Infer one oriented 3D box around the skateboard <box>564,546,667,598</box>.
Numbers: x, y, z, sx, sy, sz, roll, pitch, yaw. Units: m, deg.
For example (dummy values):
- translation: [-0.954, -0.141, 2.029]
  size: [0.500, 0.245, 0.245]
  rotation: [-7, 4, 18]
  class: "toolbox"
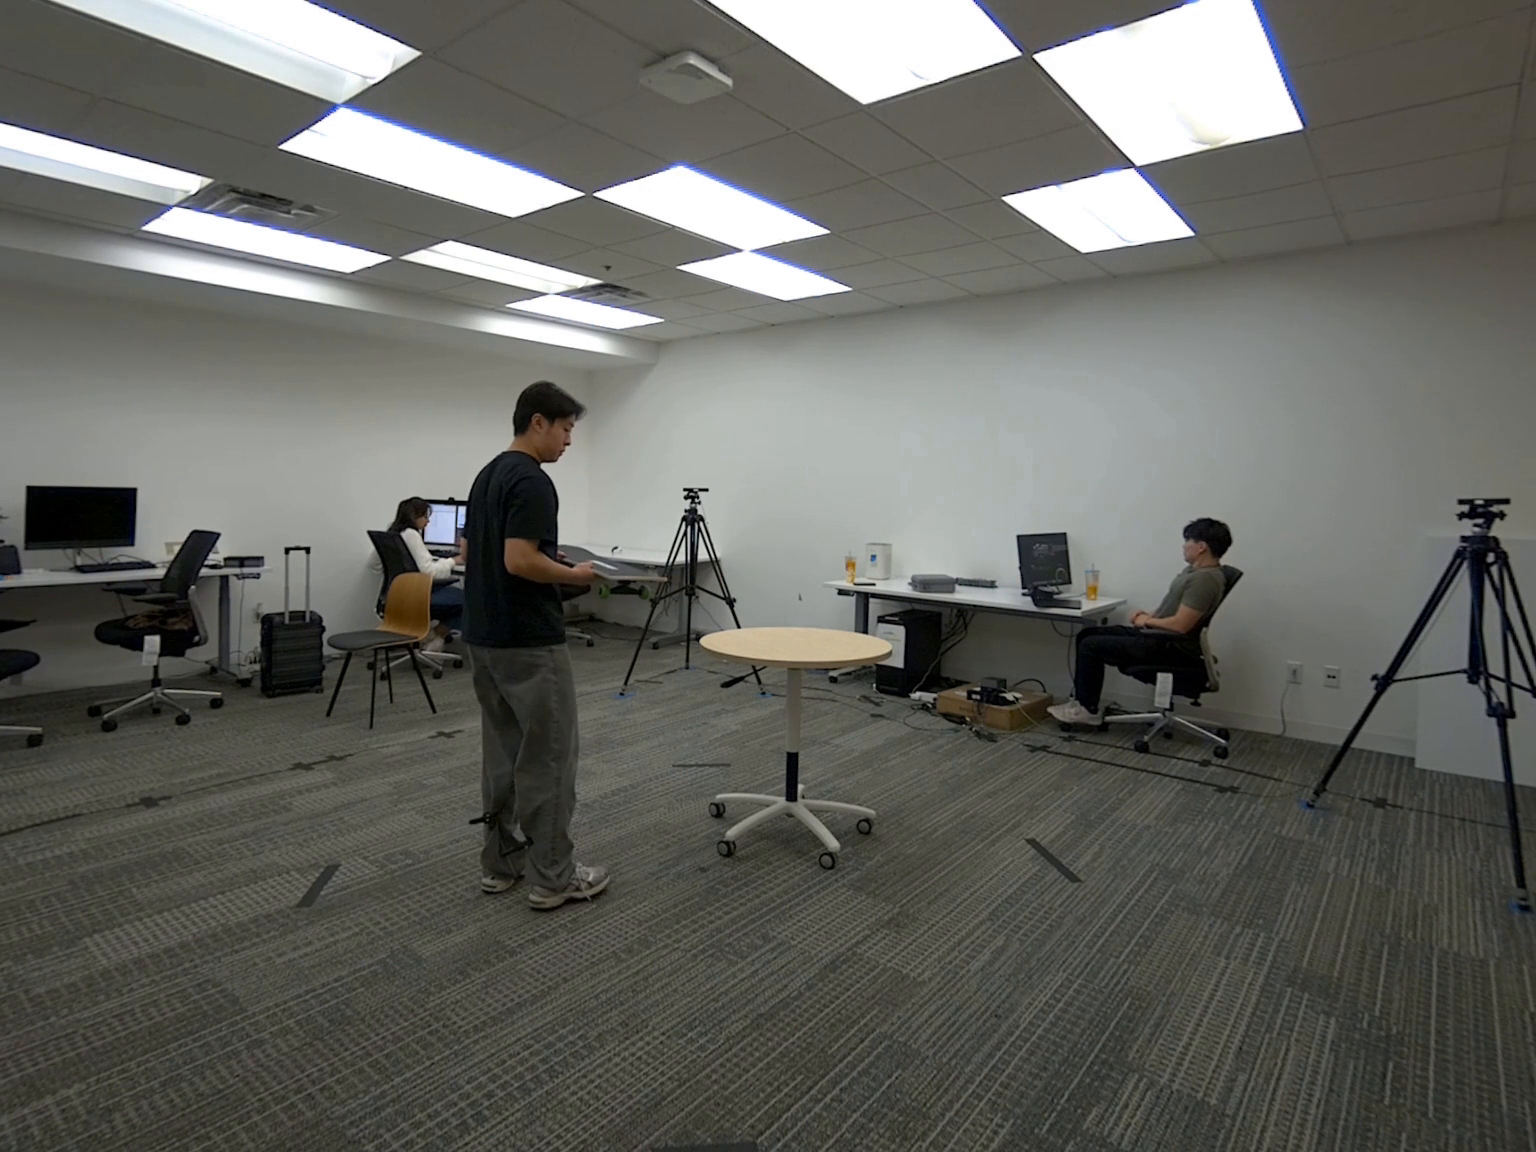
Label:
- translation: [-0.623, -0.006, 3.117]
  size: [0.187, 0.110, 0.813]
  rotation: [2, 8, -35]
  class: "skateboard"
